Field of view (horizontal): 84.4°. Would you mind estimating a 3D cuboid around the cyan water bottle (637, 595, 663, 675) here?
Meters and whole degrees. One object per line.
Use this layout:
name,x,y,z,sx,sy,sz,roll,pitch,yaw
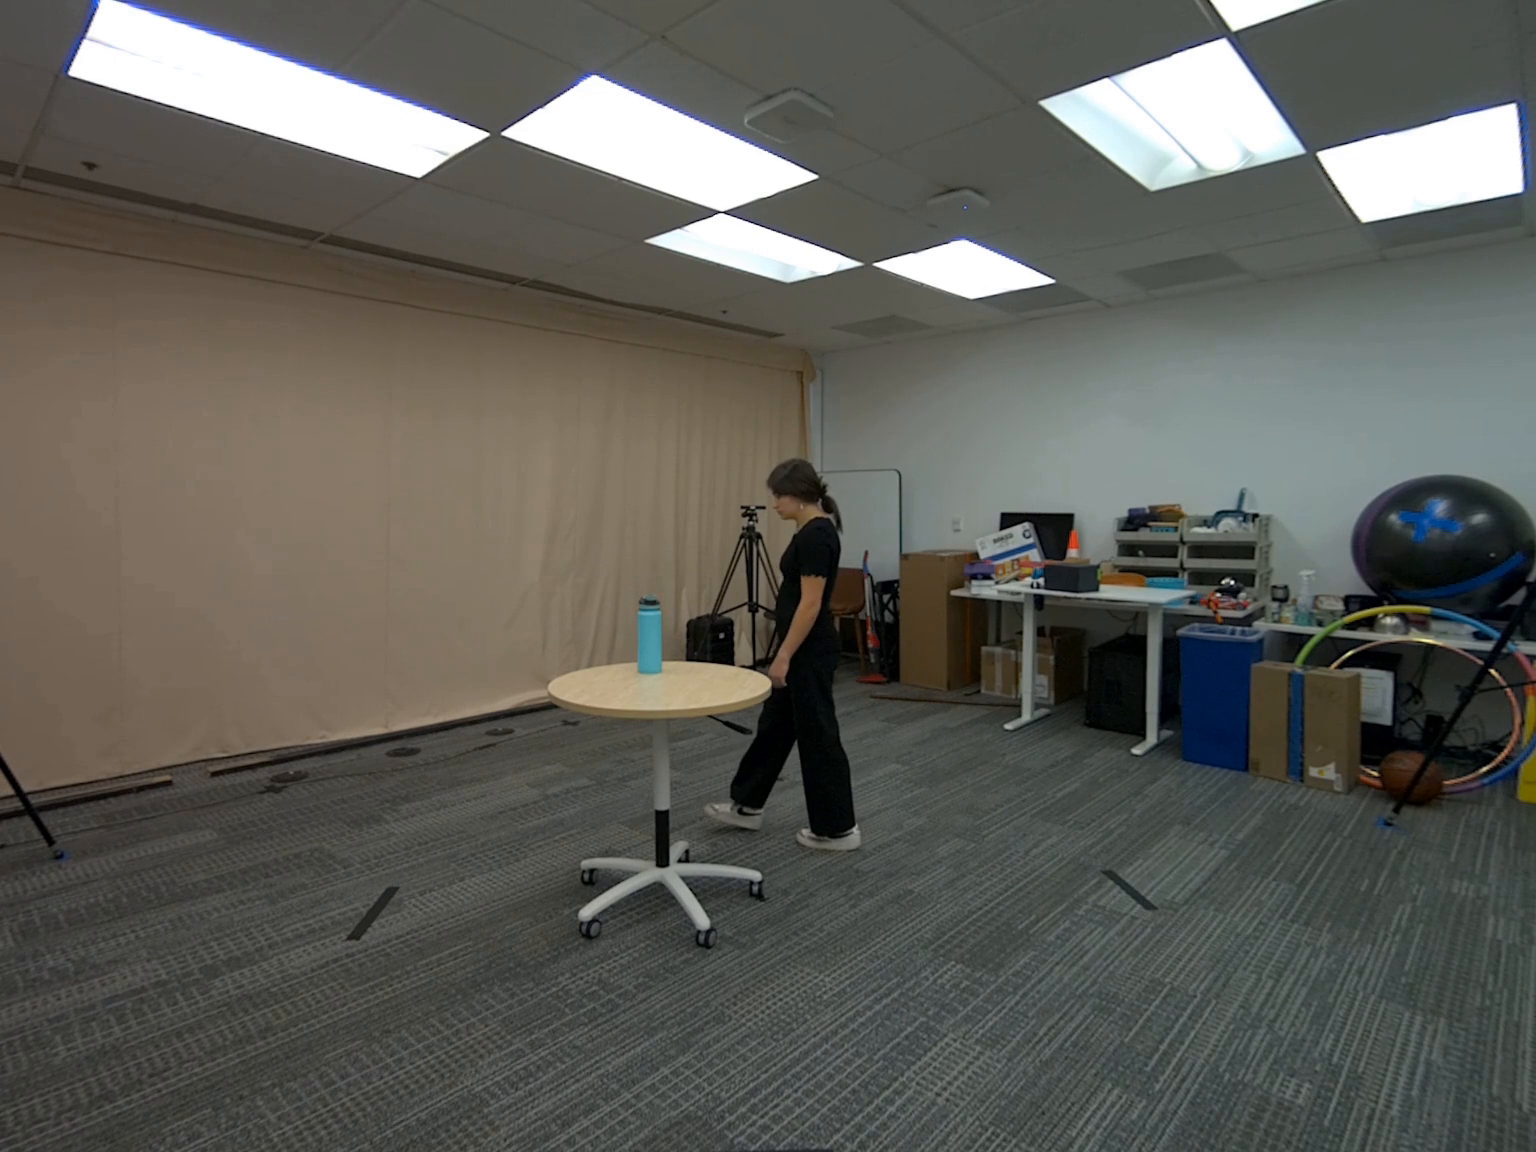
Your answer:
cyan water bottle,-0.433,0.212,3.092,0.092,0.283,0.092,1,0,-2
